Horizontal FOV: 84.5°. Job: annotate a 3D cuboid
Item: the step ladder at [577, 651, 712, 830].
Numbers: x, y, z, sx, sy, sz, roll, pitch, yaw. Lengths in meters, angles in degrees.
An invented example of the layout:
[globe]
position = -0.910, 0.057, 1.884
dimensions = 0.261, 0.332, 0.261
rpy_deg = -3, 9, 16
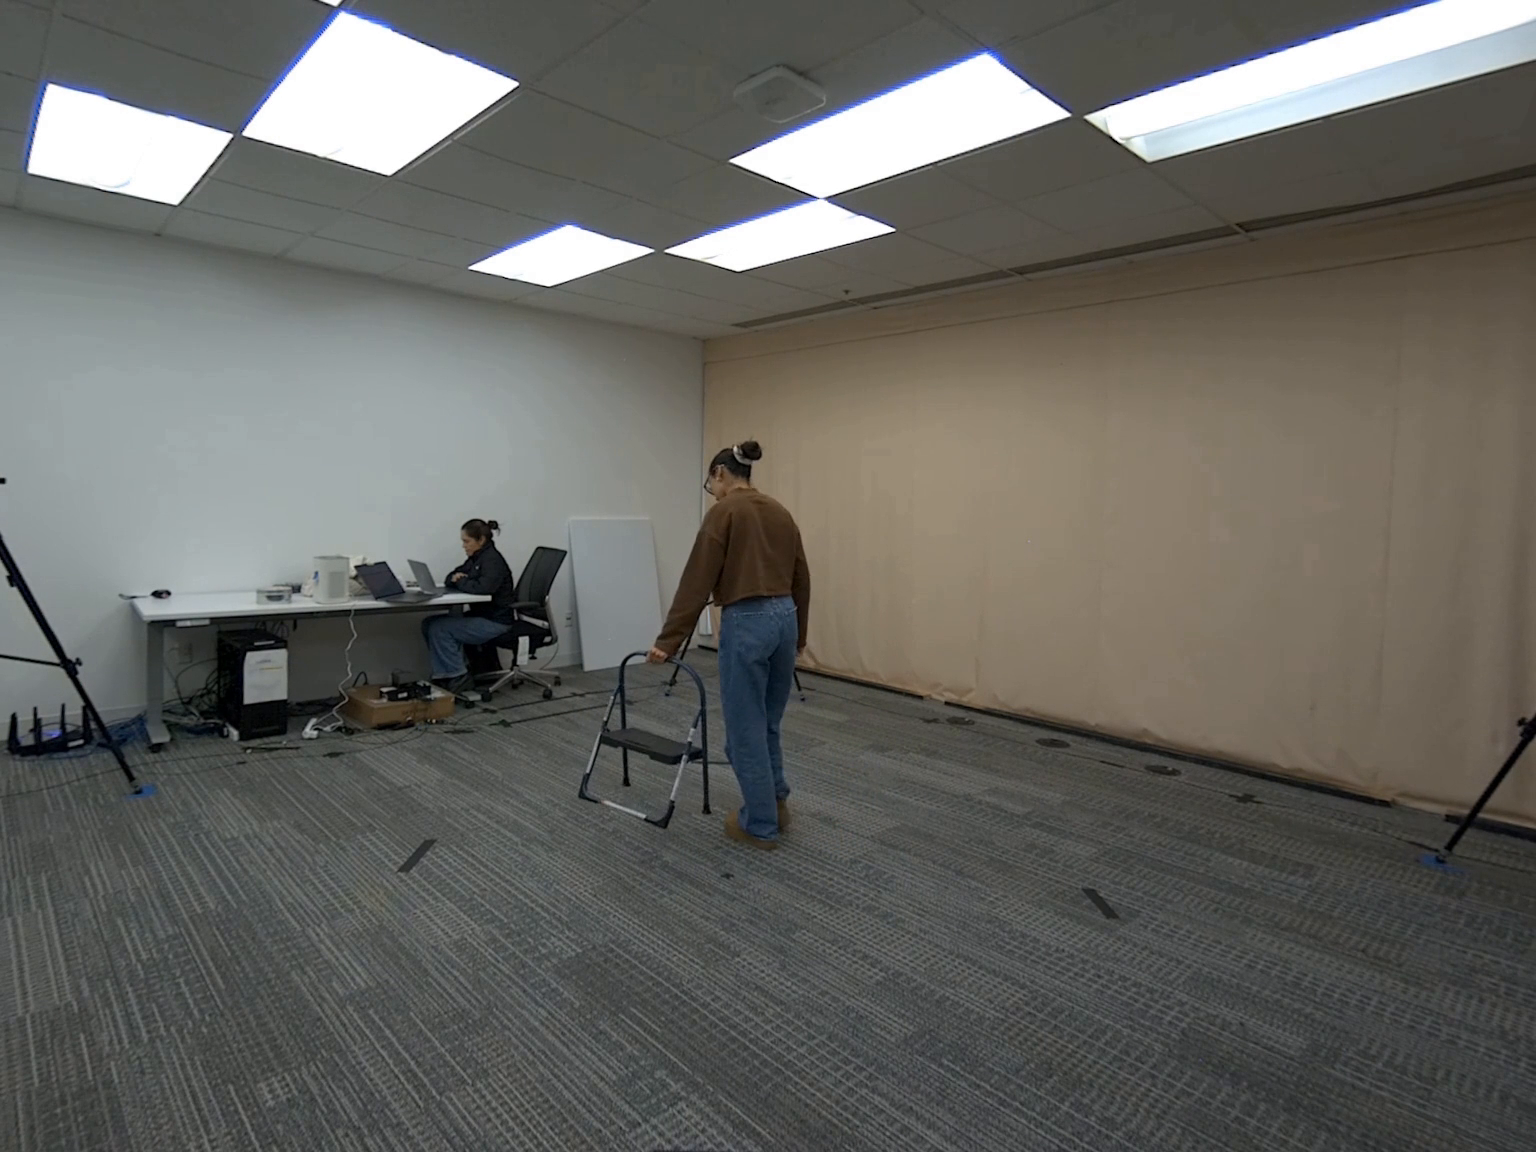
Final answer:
[step ladder]
position = -0.450, 0.613, 3.327
dimensions = 0.439, 0.607, 0.342
rpy_deg = 7, -2, 25
